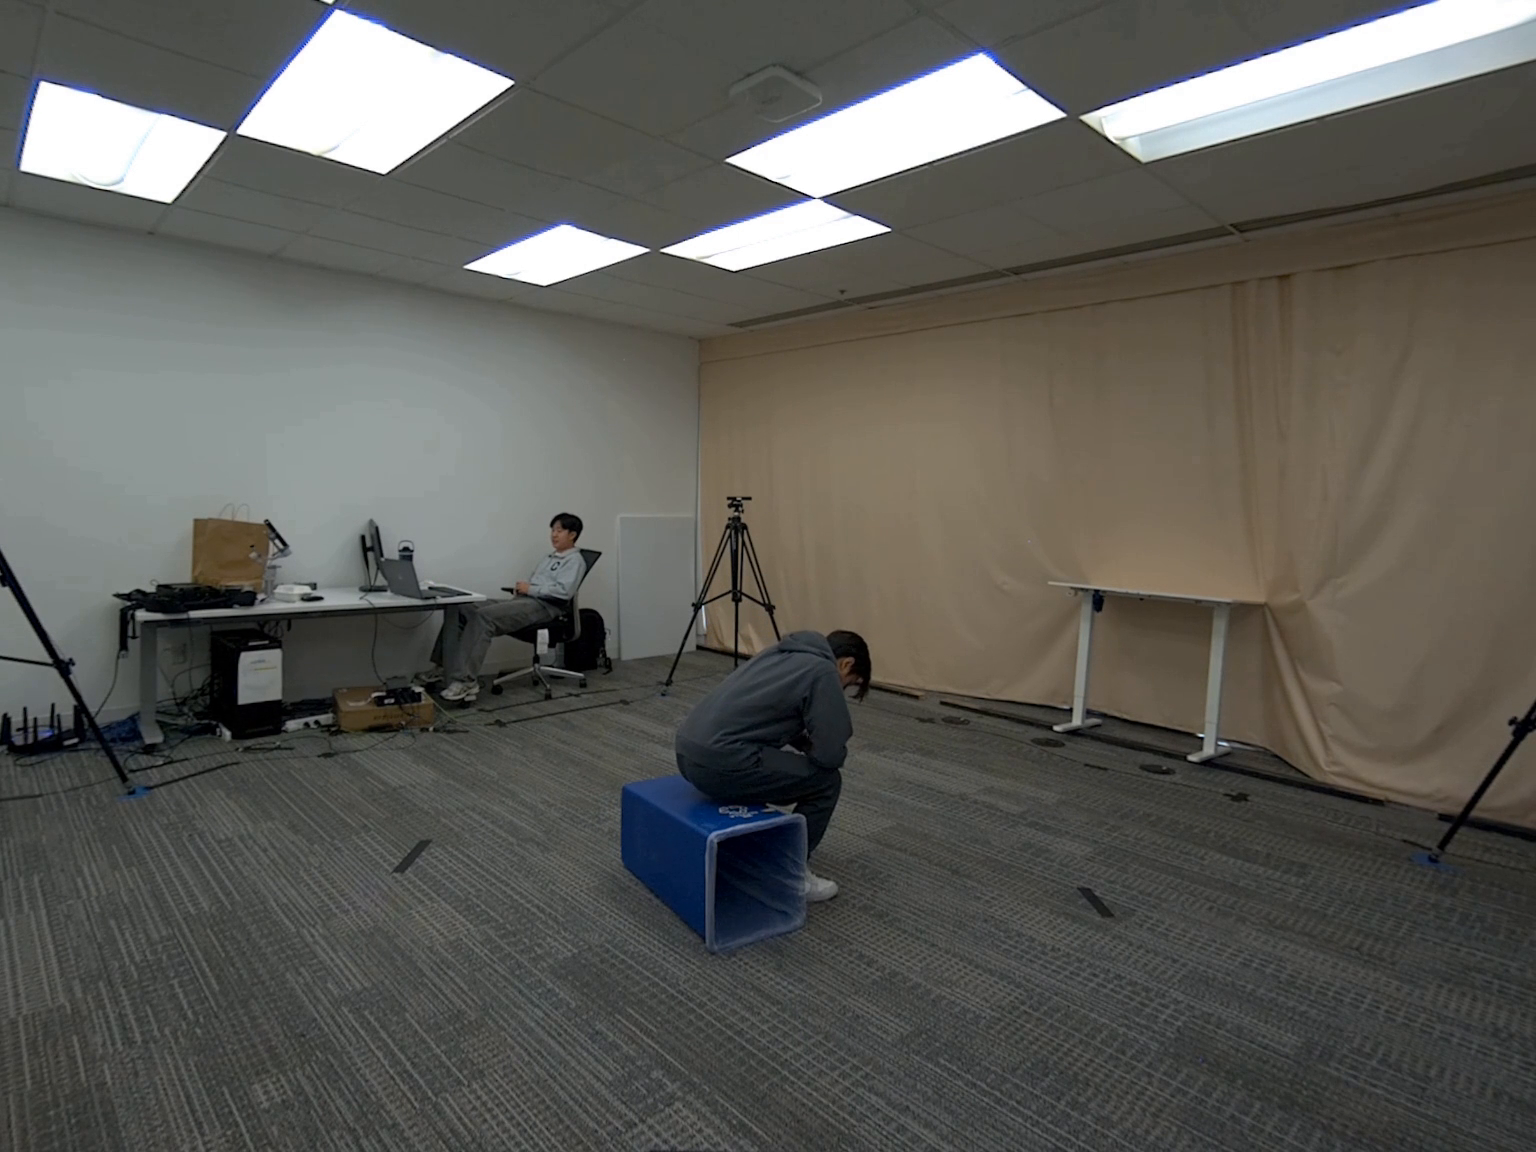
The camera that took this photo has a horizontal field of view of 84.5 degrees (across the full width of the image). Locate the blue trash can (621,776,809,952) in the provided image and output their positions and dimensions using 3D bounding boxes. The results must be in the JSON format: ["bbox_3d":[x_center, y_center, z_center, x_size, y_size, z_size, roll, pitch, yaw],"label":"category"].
[{"bbox_3d":[-0.240,0.952,2.936,0.366,0.378,0.730,-2,2,-34],"label":"blue trash can"}]
